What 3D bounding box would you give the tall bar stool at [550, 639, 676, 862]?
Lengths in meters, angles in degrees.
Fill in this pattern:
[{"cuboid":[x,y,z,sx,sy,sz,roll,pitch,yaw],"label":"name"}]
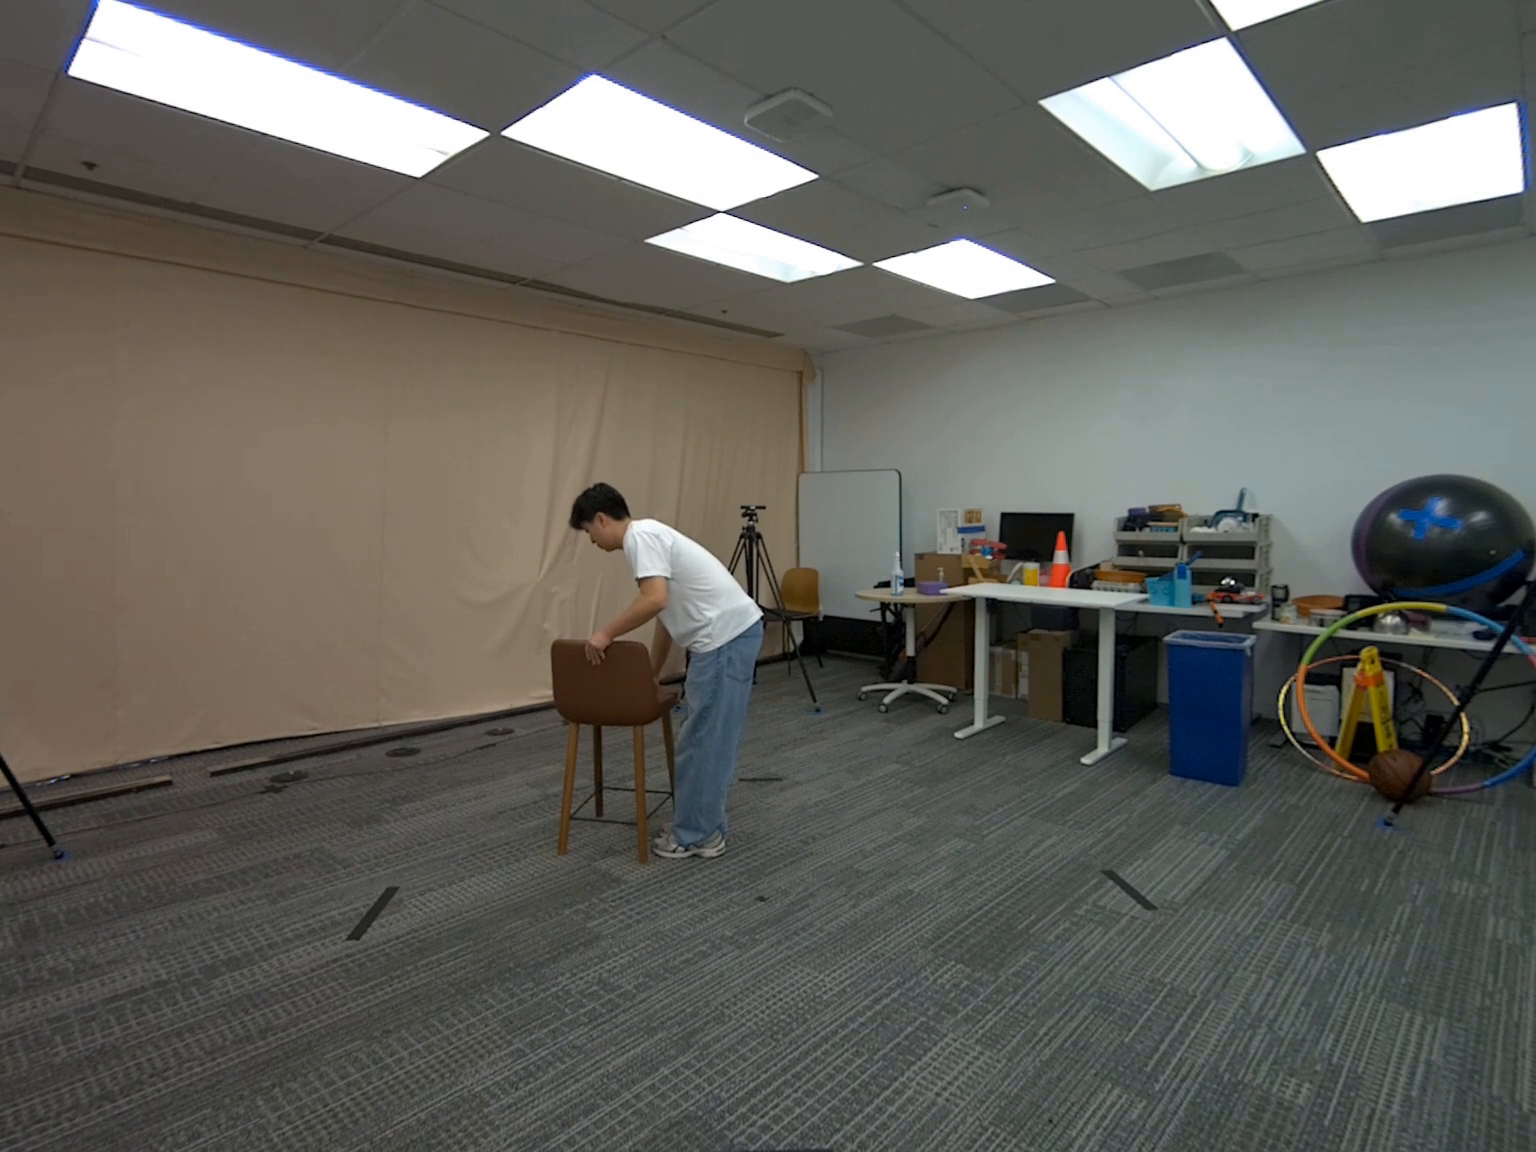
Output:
[{"cuboid":[-0.629,0.669,3.524,0.464,0.887,0.462,-1,5,14],"label":"tall bar stool"}]
